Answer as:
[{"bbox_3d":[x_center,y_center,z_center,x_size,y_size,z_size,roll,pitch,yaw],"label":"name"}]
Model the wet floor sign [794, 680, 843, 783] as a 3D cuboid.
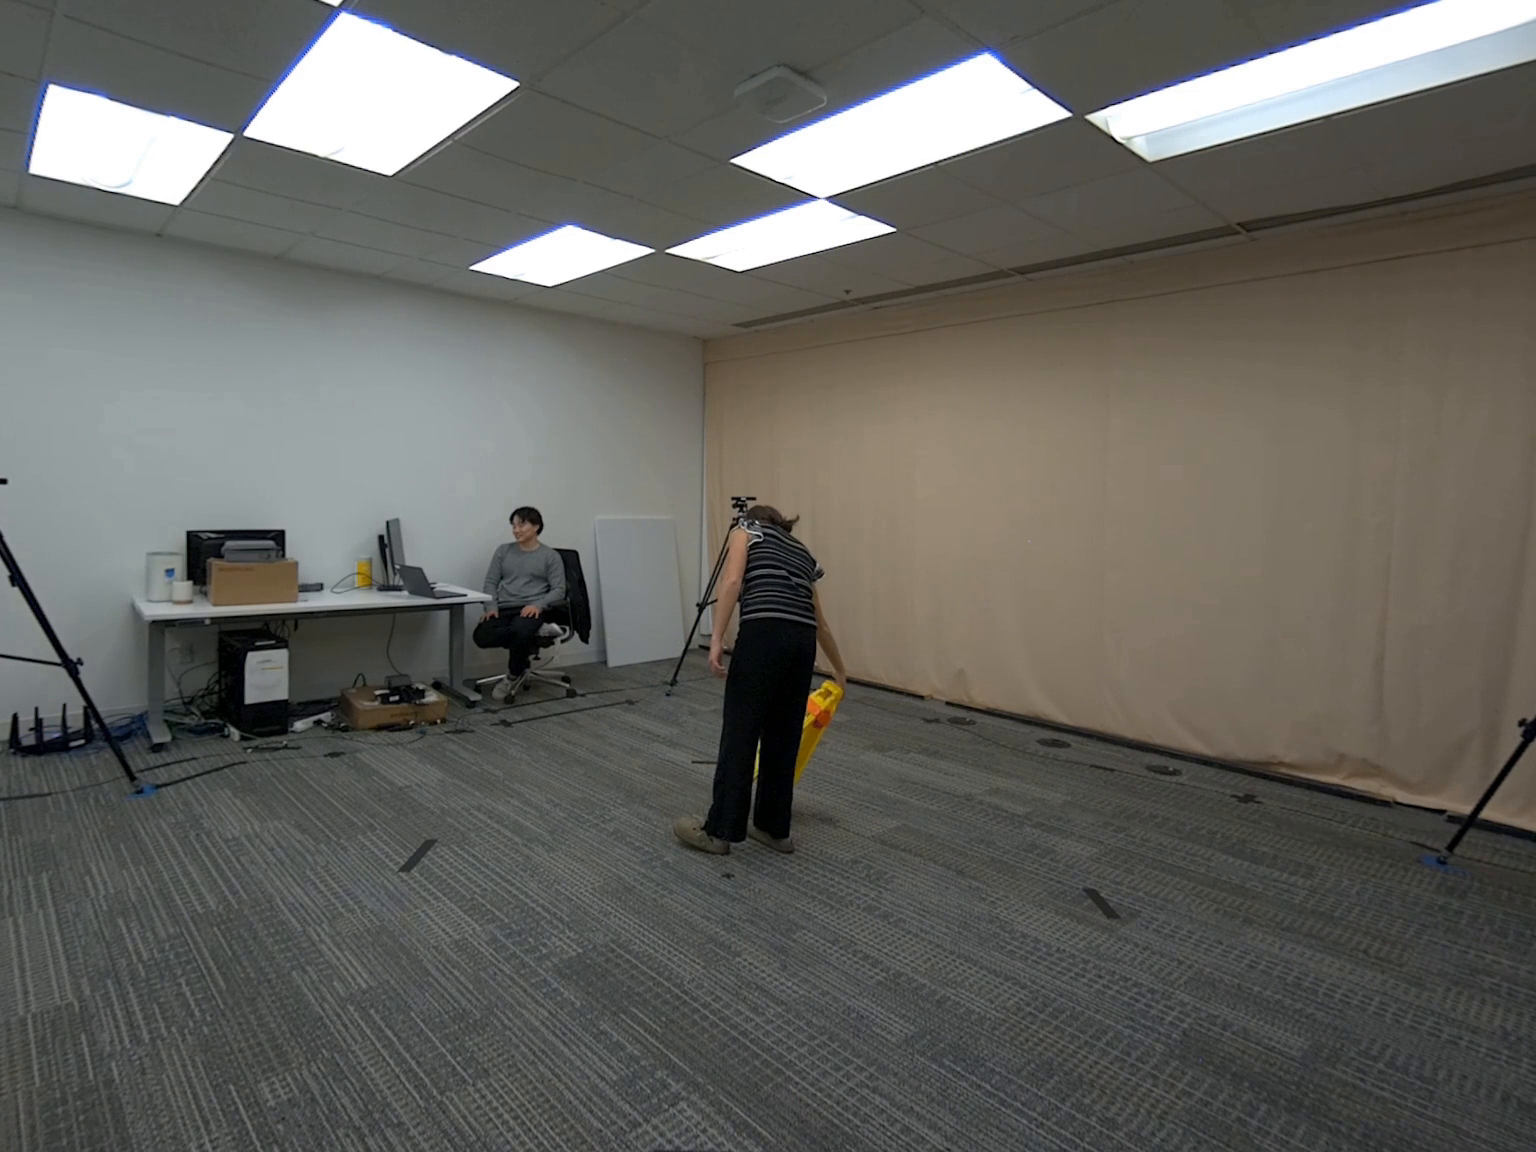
[{"bbox_3d":[0.093,0.745,3.700,0.286,0.646,0.286,38,-5,-13],"label":"wet floor sign"}]
